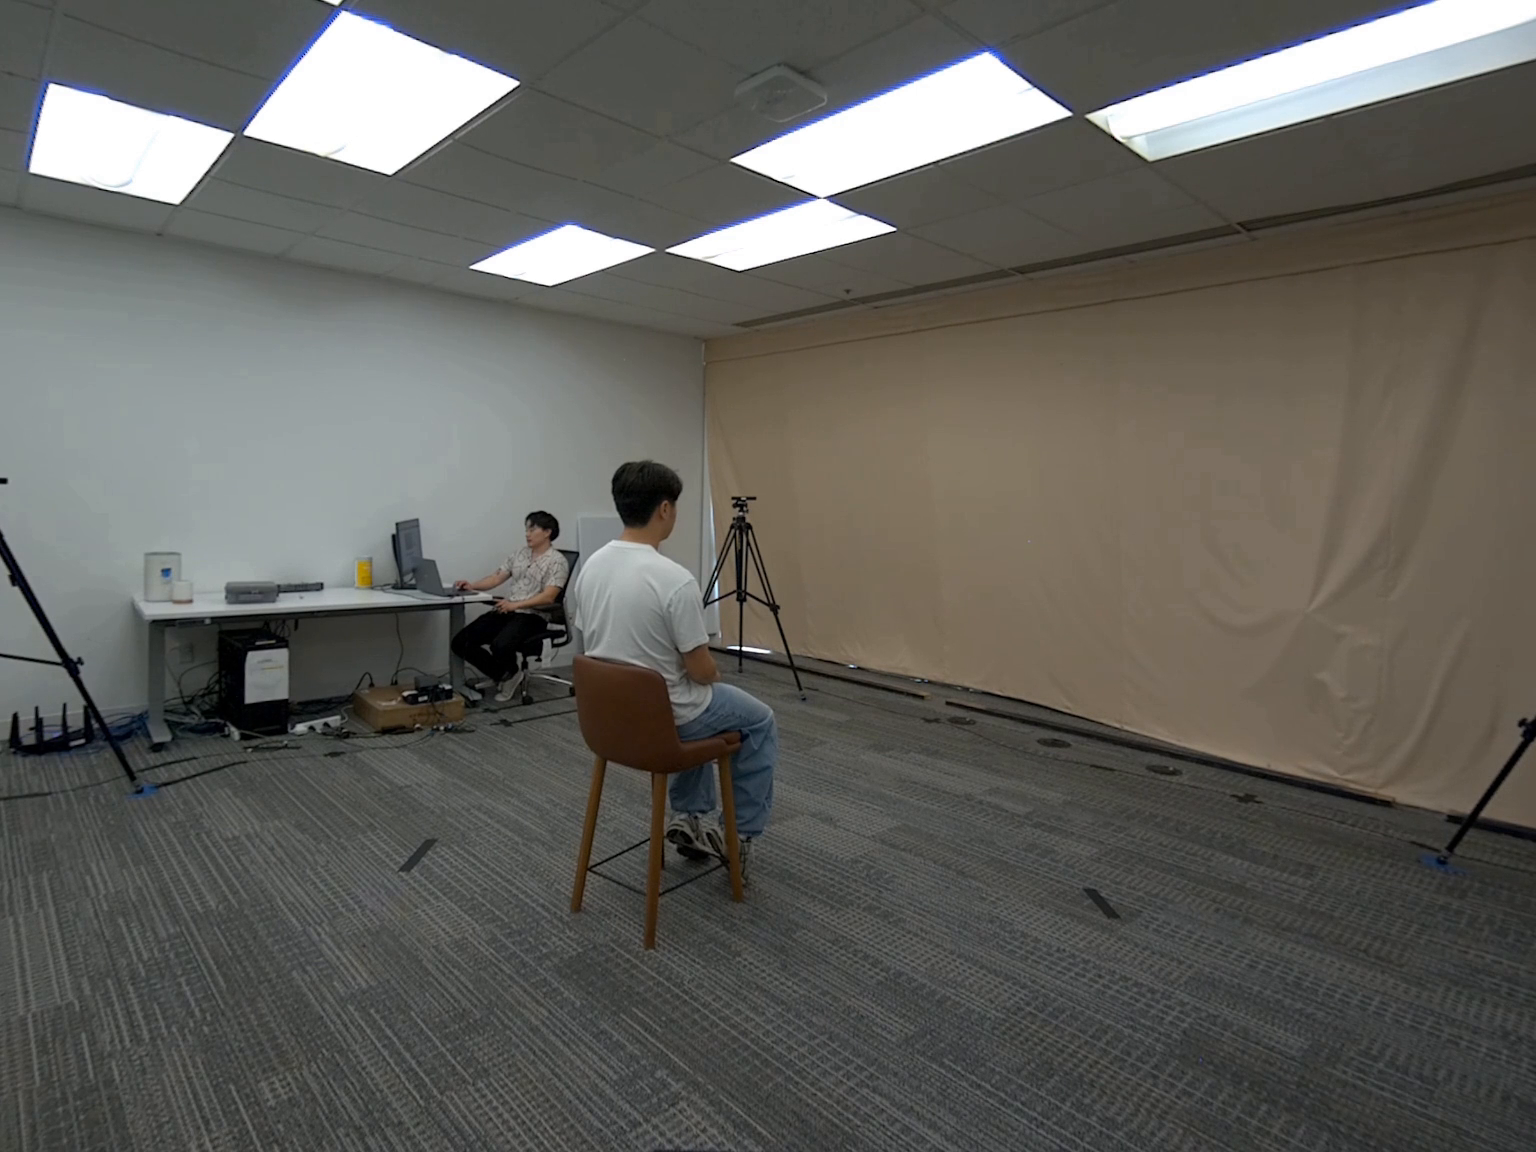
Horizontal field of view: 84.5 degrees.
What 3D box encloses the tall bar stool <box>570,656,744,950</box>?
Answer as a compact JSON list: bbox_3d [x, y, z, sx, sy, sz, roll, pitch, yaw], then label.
[{"bbox_3d":[-0.389,0.691,2.836,0.467,0.886,0.458,3,6,38],"label":"tall bar stool"}]
